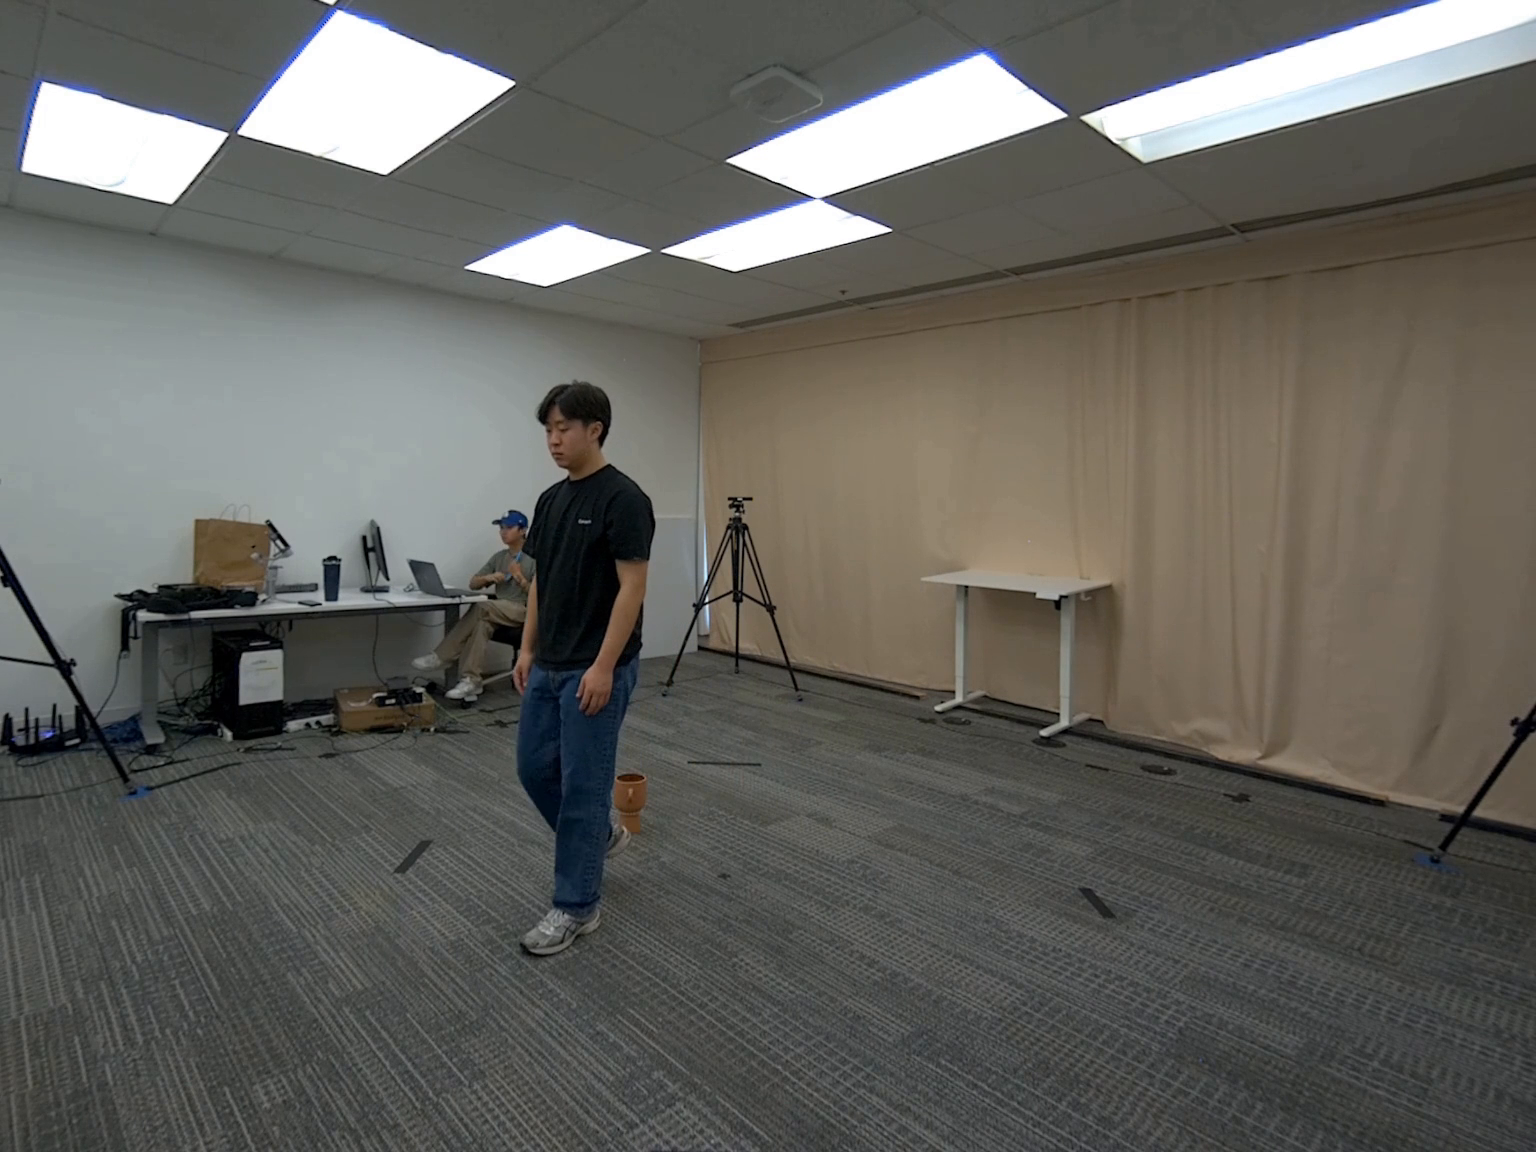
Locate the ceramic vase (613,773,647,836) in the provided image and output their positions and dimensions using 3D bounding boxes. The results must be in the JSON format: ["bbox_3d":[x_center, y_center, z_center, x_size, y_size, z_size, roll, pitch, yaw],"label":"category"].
[{"bbox_3d":[-0.588,0.949,3.512,0.138,0.219,0.155,4,4,31],"label":"ceramic vase"}]
